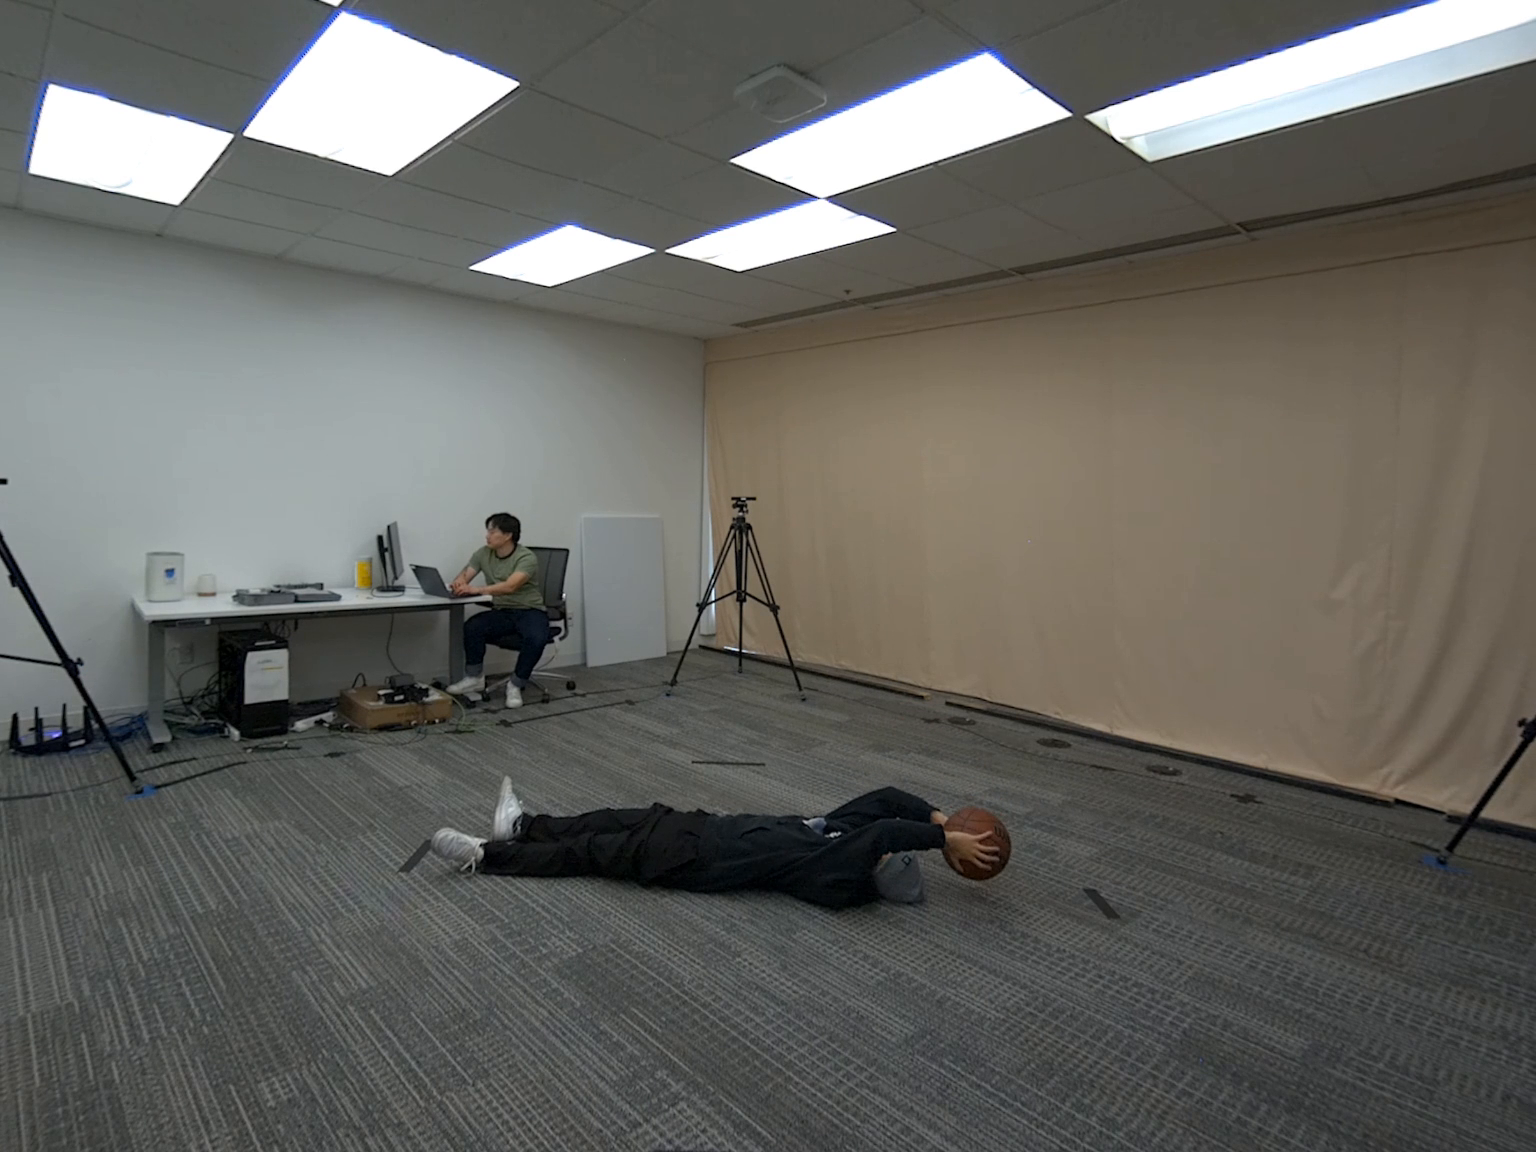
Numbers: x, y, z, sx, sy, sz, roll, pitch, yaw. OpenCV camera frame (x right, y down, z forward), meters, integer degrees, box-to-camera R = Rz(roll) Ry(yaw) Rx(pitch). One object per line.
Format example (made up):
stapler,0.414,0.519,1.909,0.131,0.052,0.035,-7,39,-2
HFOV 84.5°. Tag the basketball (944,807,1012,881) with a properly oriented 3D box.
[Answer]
basketball,0.721,0.932,2.941,0.236,0.235,0.237,1,4,-1
